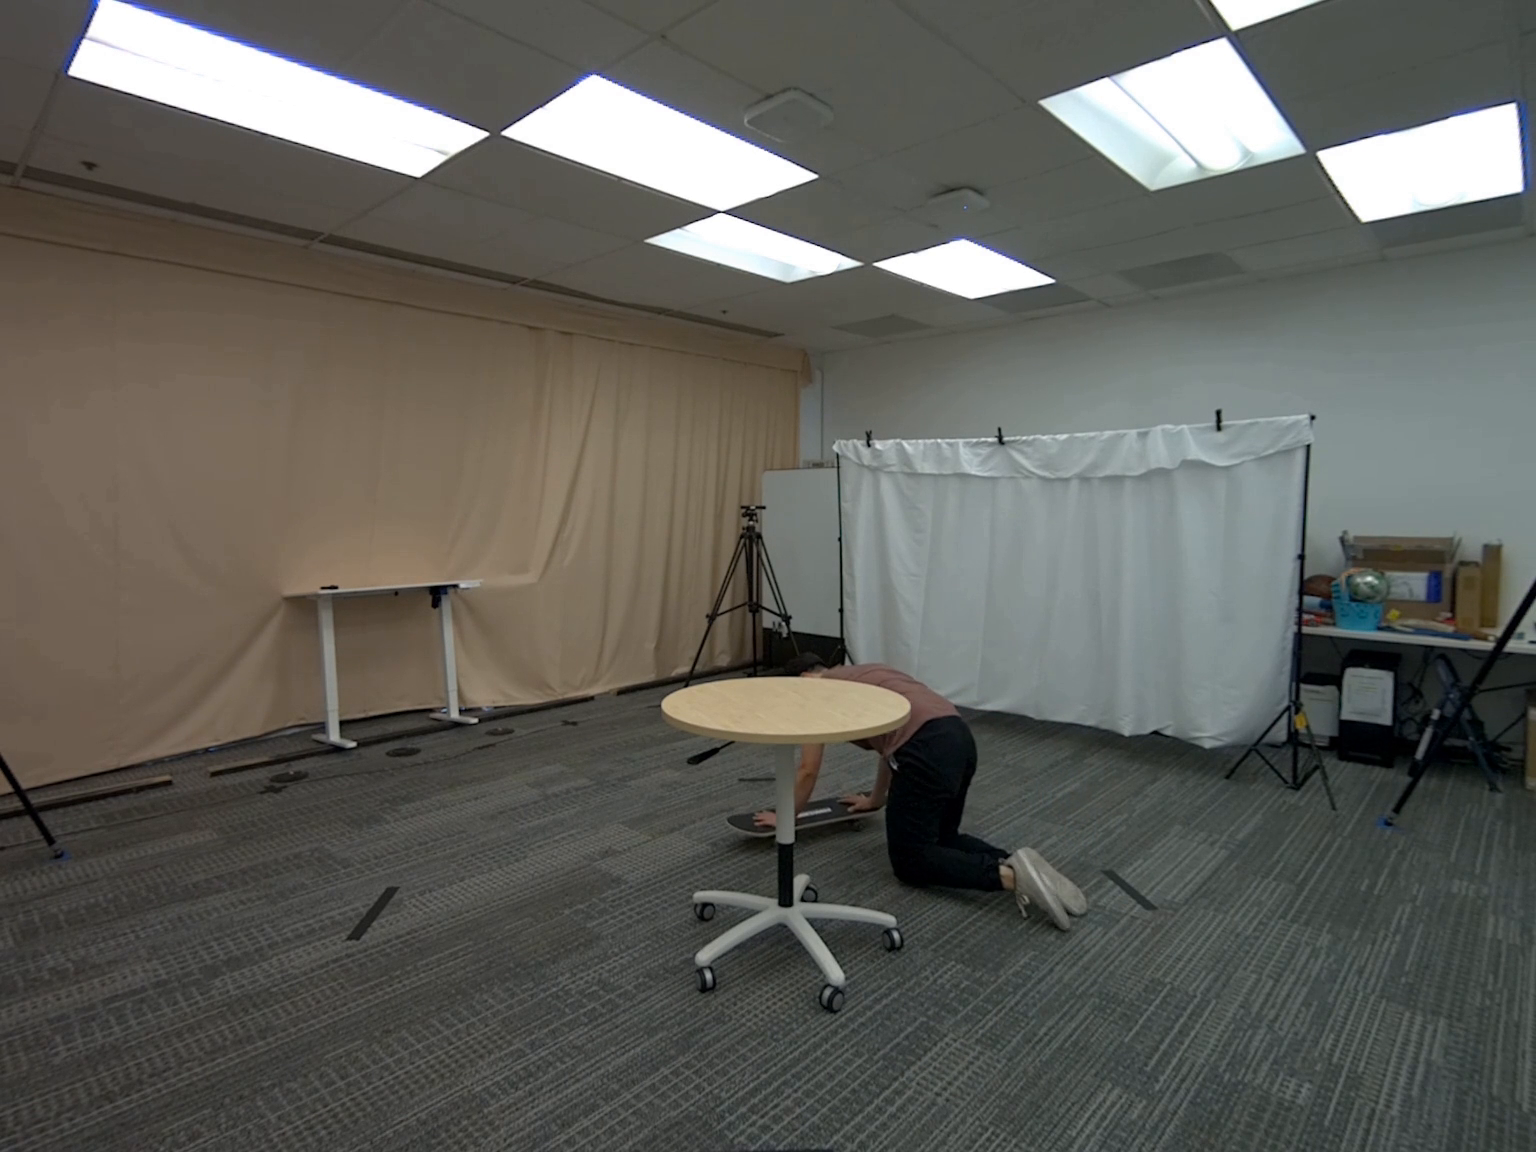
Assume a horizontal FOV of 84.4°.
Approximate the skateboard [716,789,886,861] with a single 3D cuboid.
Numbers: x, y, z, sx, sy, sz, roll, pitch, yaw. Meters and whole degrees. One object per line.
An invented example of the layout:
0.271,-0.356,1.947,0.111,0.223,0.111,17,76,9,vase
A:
0.175,1.039,3.579,0.765,0.110,0.199,-2,7,-27,skateboard
